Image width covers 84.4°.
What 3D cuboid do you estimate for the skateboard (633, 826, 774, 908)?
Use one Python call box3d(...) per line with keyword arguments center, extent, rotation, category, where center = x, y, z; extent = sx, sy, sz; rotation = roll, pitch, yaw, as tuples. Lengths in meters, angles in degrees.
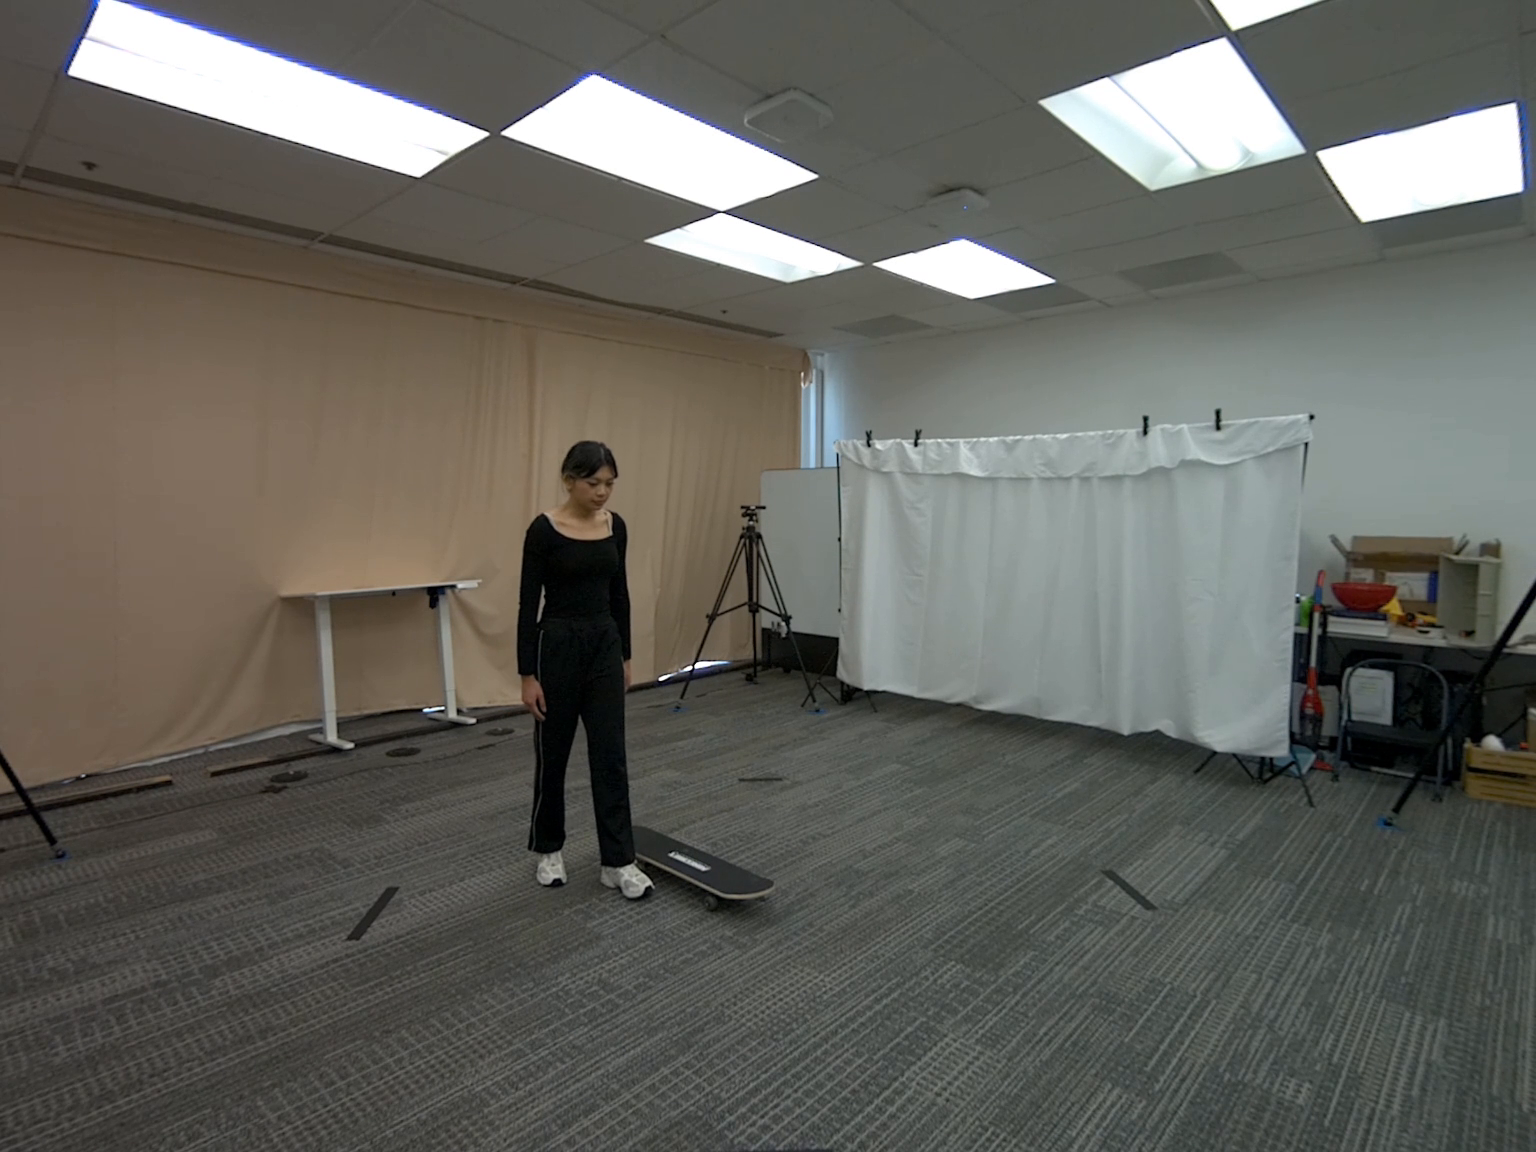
box3d(center=(-0.290, 1.081, 3.098), extent=(0.812, 0.110, 0.187), rotation=(4, 6, 44), category="skateboard")
